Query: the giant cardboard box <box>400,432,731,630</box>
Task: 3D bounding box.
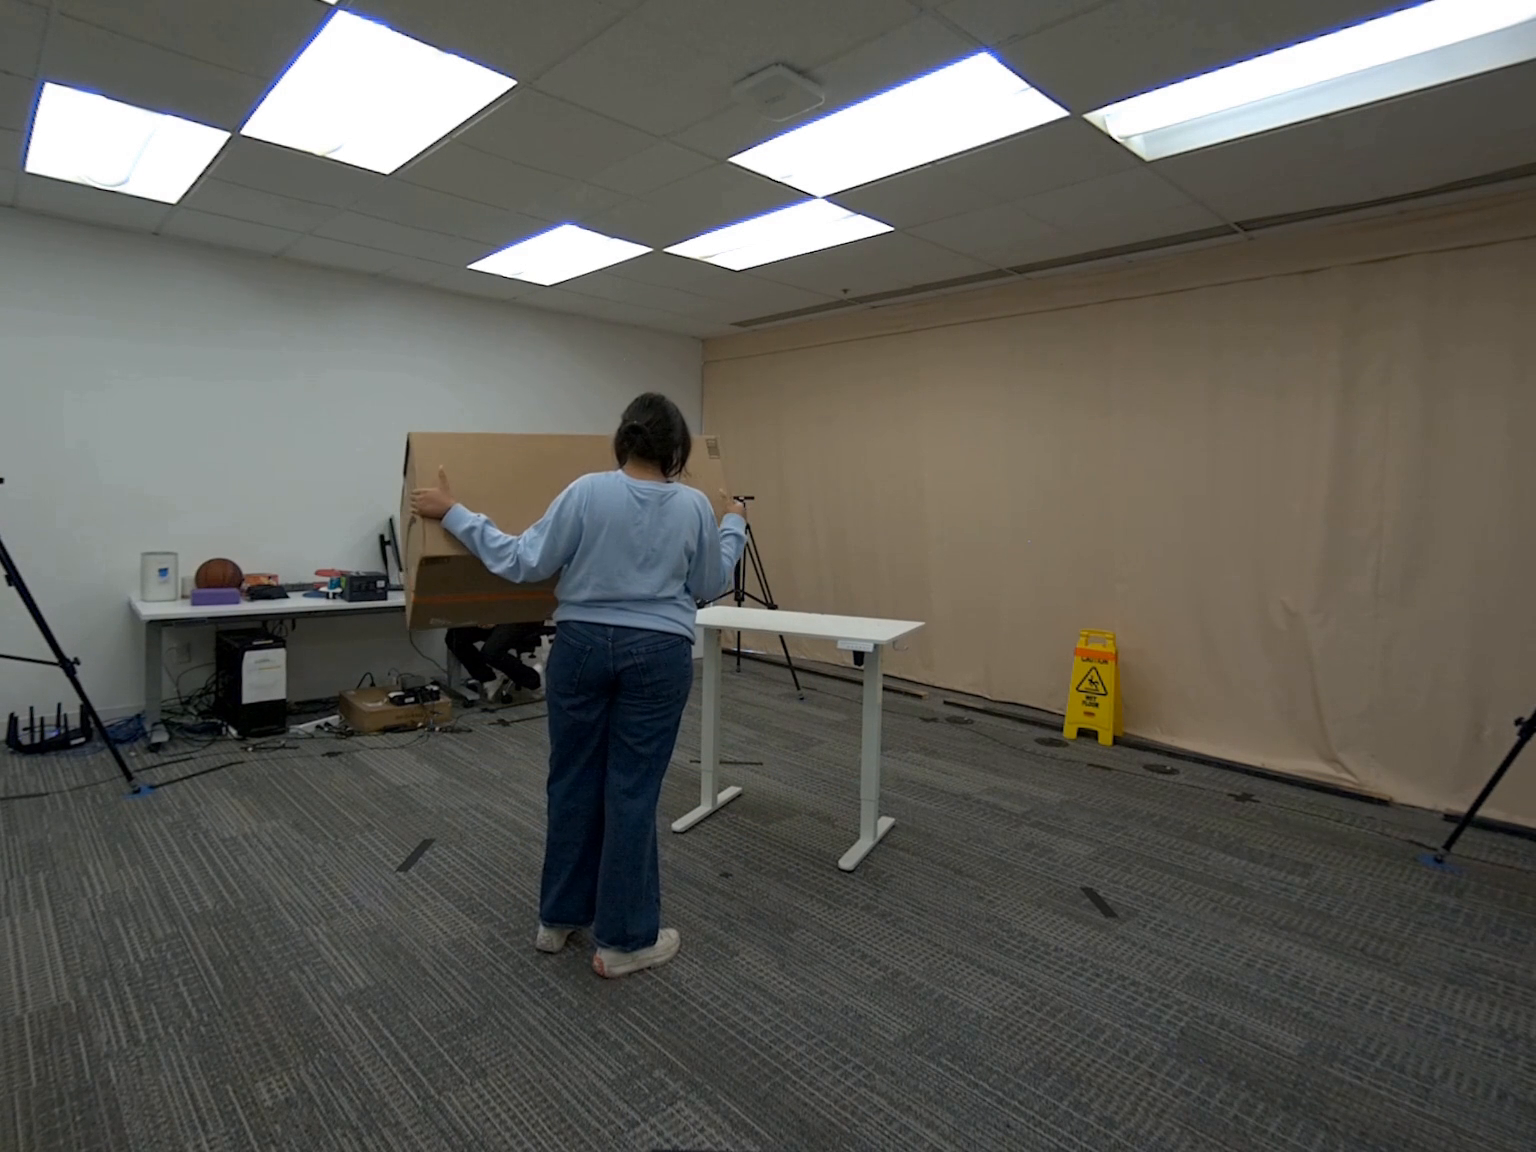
[{"bbox_3d":[-0.686,-0.149,2.880,1.008,0.434,0.577,-3,-24,-26],"label":"giant cardboard box"}]
